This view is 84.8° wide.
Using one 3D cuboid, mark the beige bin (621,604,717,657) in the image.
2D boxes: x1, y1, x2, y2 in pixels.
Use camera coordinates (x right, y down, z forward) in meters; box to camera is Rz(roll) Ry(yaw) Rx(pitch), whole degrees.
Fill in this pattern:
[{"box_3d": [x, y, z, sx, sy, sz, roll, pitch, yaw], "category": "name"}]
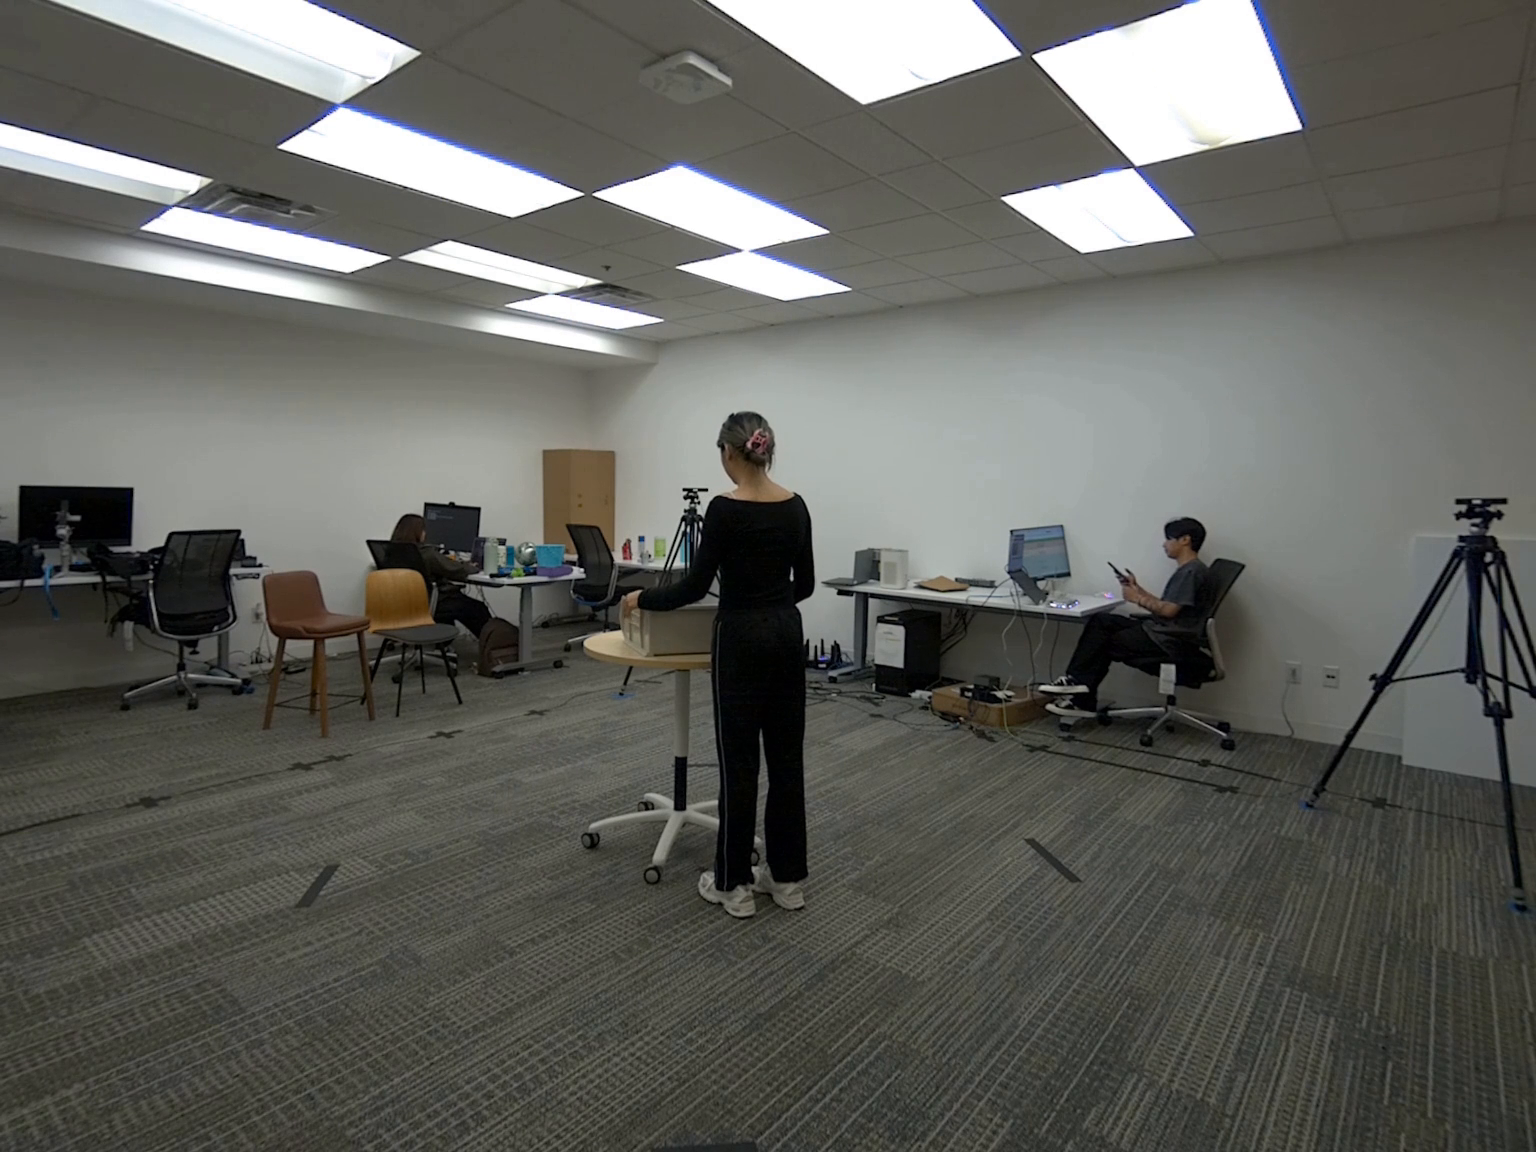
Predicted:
[{"box_3d": [-0.327, 0.174, 3.212, 0.413, 0.188, 0.387, 0, 5, -22], "category": "beige bin"}]
